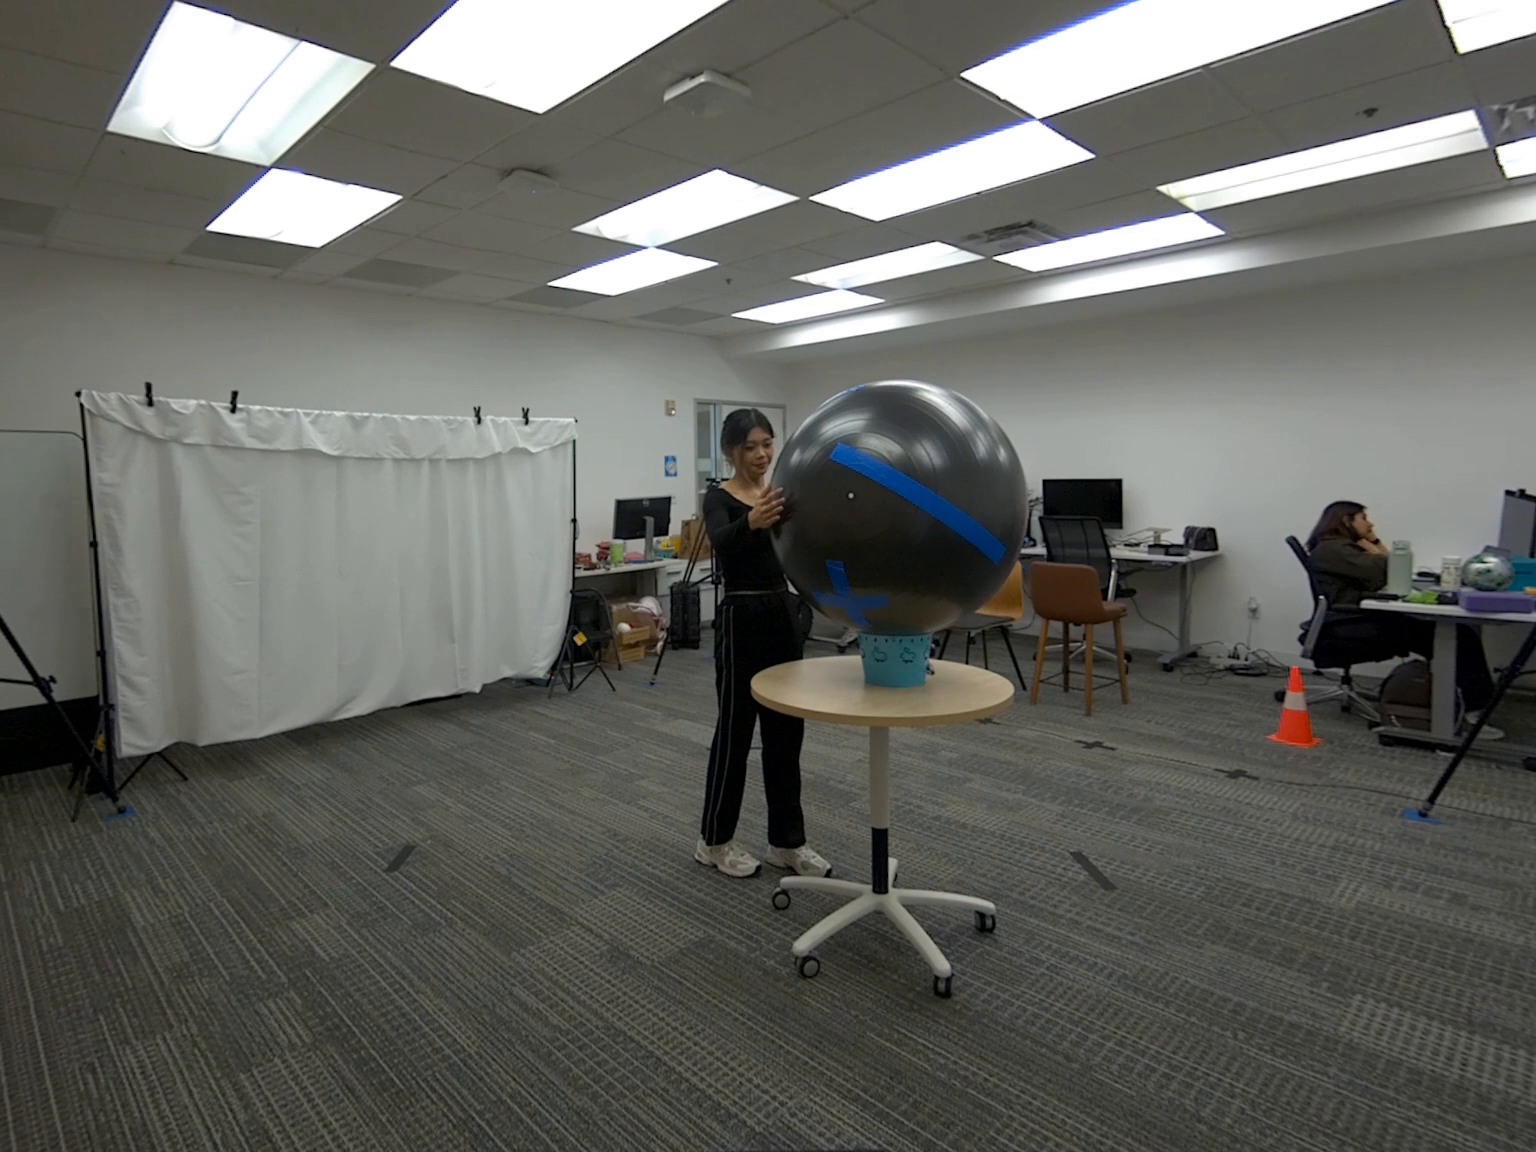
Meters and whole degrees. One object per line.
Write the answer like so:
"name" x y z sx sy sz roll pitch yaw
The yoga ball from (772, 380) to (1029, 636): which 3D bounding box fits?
"yoga ball" 0.380 -0.192 2.536 0.757 0.755 0.762 -1 5 -2
